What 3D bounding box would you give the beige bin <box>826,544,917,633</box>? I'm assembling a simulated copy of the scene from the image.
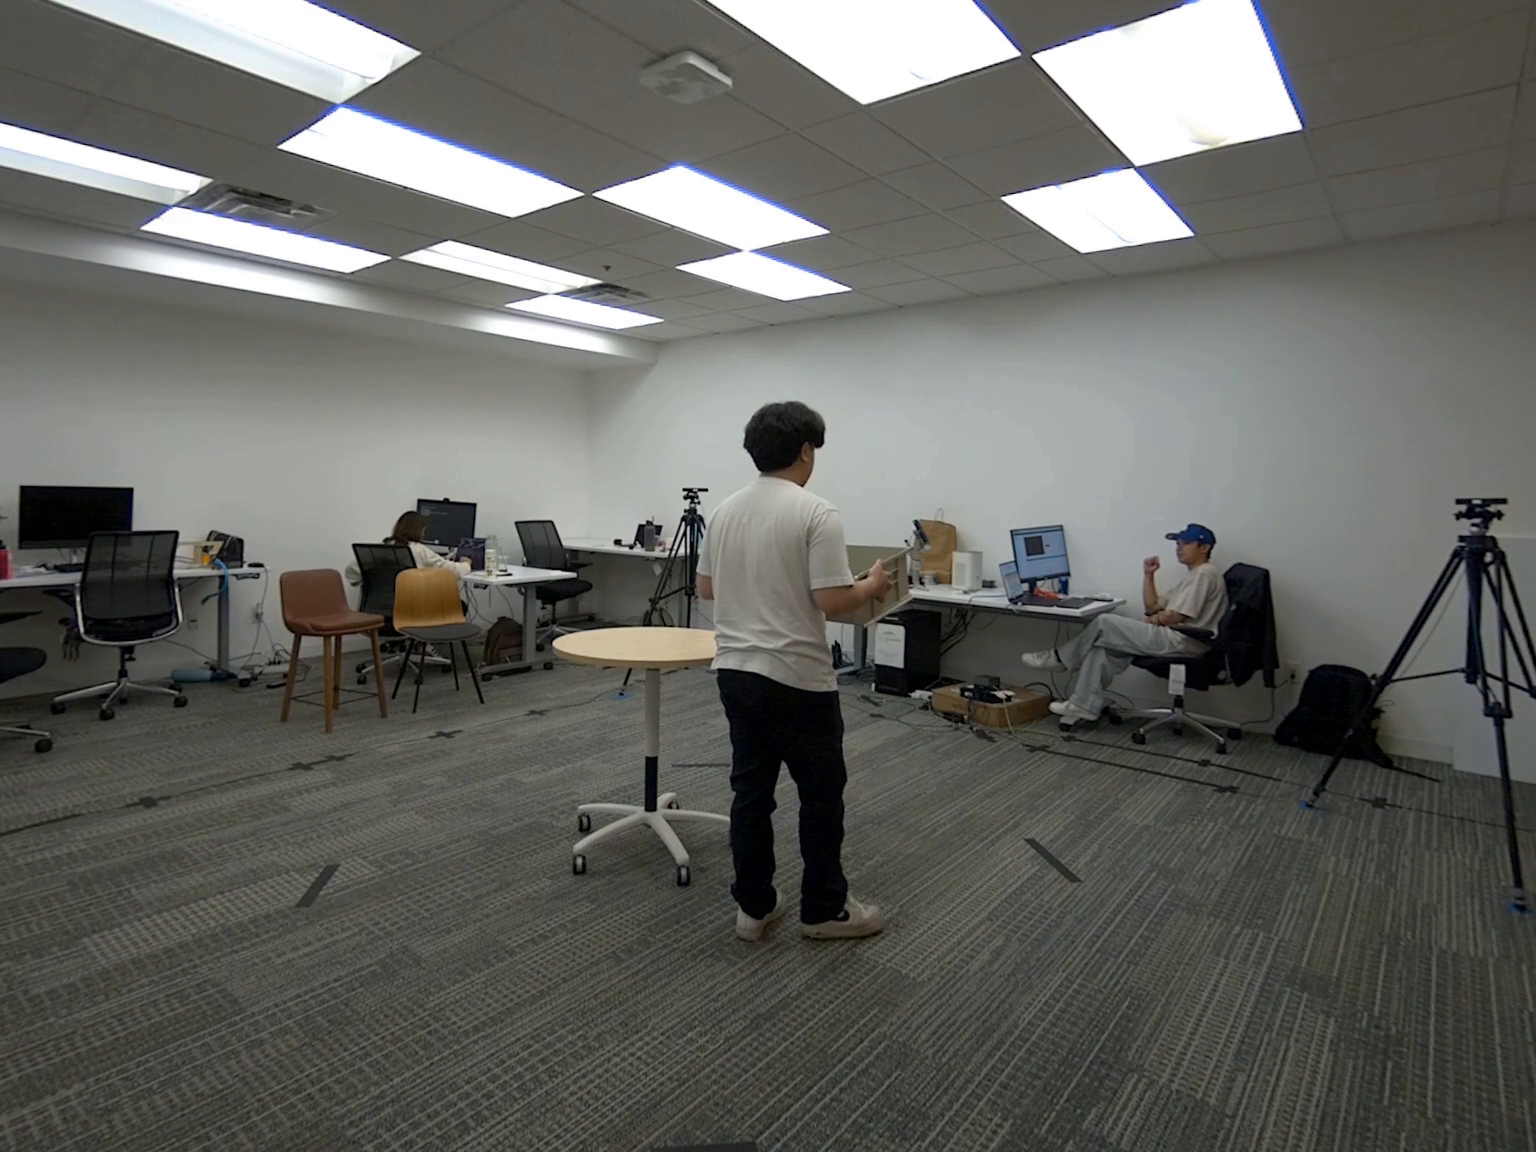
[{"bbox_3d":[0.219,0.024,2.893,0.436,0.187,0.369,4,16,41],"label":"beige bin"}]
